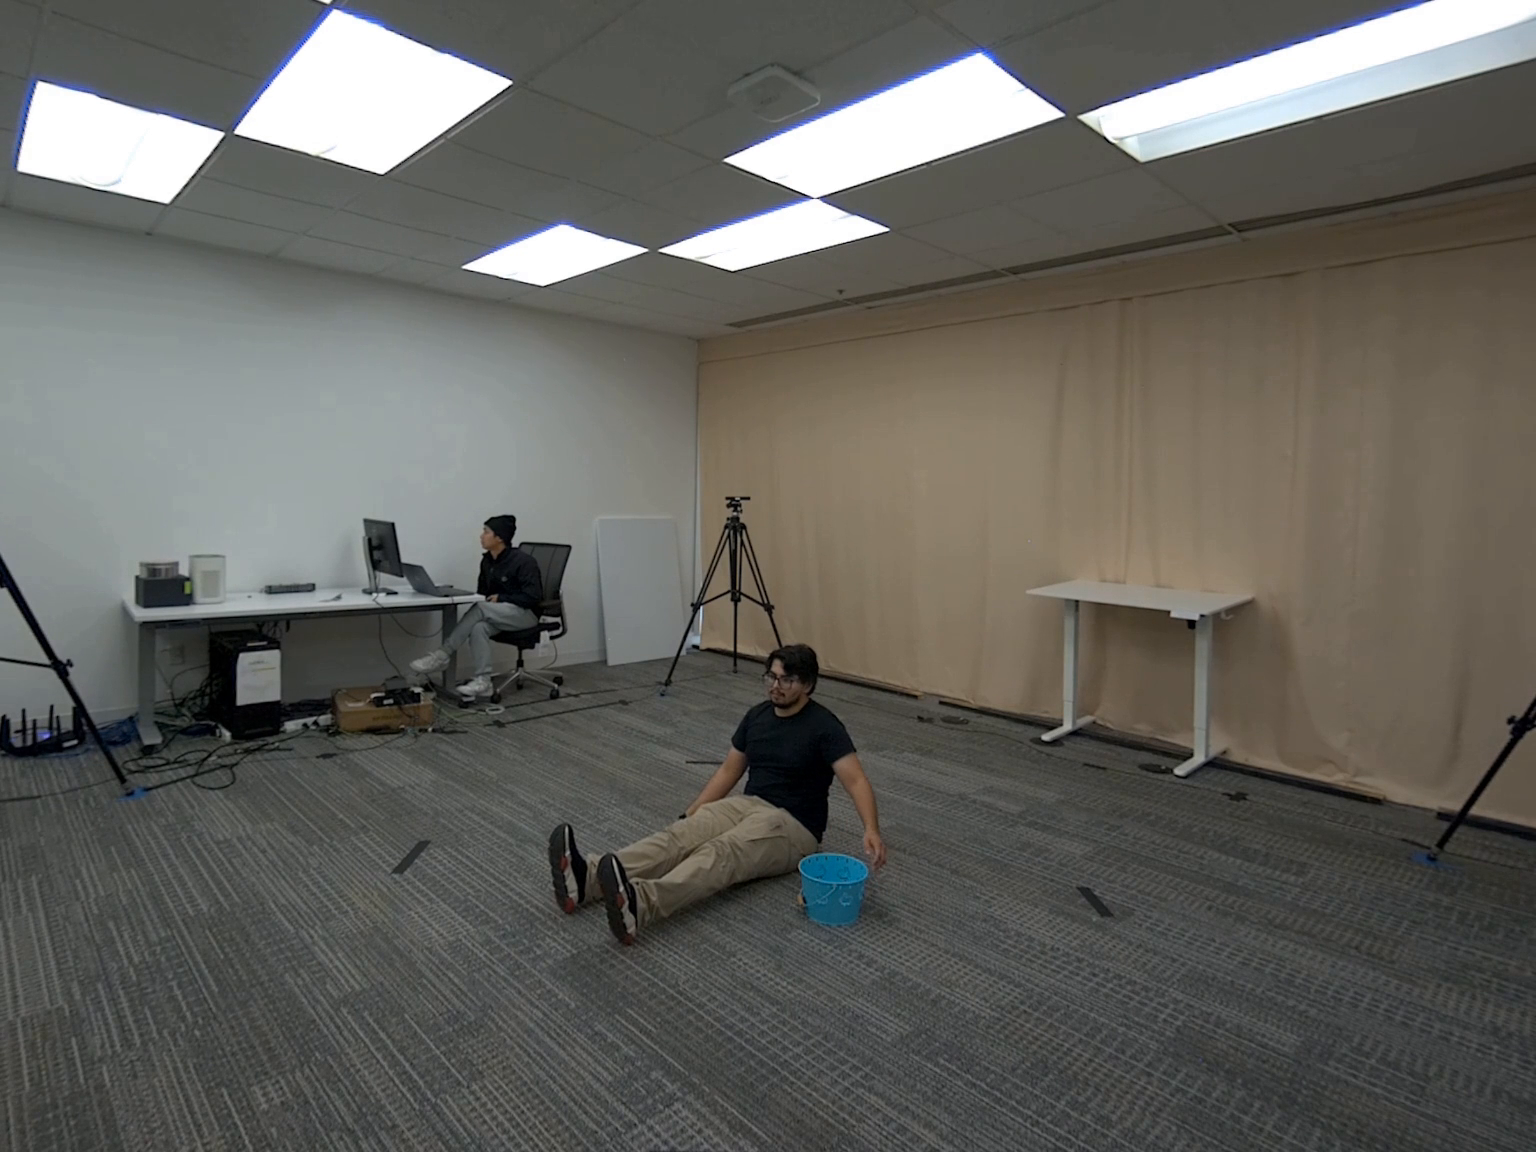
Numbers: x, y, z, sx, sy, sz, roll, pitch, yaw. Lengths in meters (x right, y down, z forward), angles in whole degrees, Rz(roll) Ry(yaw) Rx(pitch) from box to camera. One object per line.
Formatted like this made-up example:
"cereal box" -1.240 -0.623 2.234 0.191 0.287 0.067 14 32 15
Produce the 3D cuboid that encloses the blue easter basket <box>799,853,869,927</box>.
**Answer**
"blue easter basket" 0.204 1.058 2.842 0.243 0.155 0.245 2 6 -2
